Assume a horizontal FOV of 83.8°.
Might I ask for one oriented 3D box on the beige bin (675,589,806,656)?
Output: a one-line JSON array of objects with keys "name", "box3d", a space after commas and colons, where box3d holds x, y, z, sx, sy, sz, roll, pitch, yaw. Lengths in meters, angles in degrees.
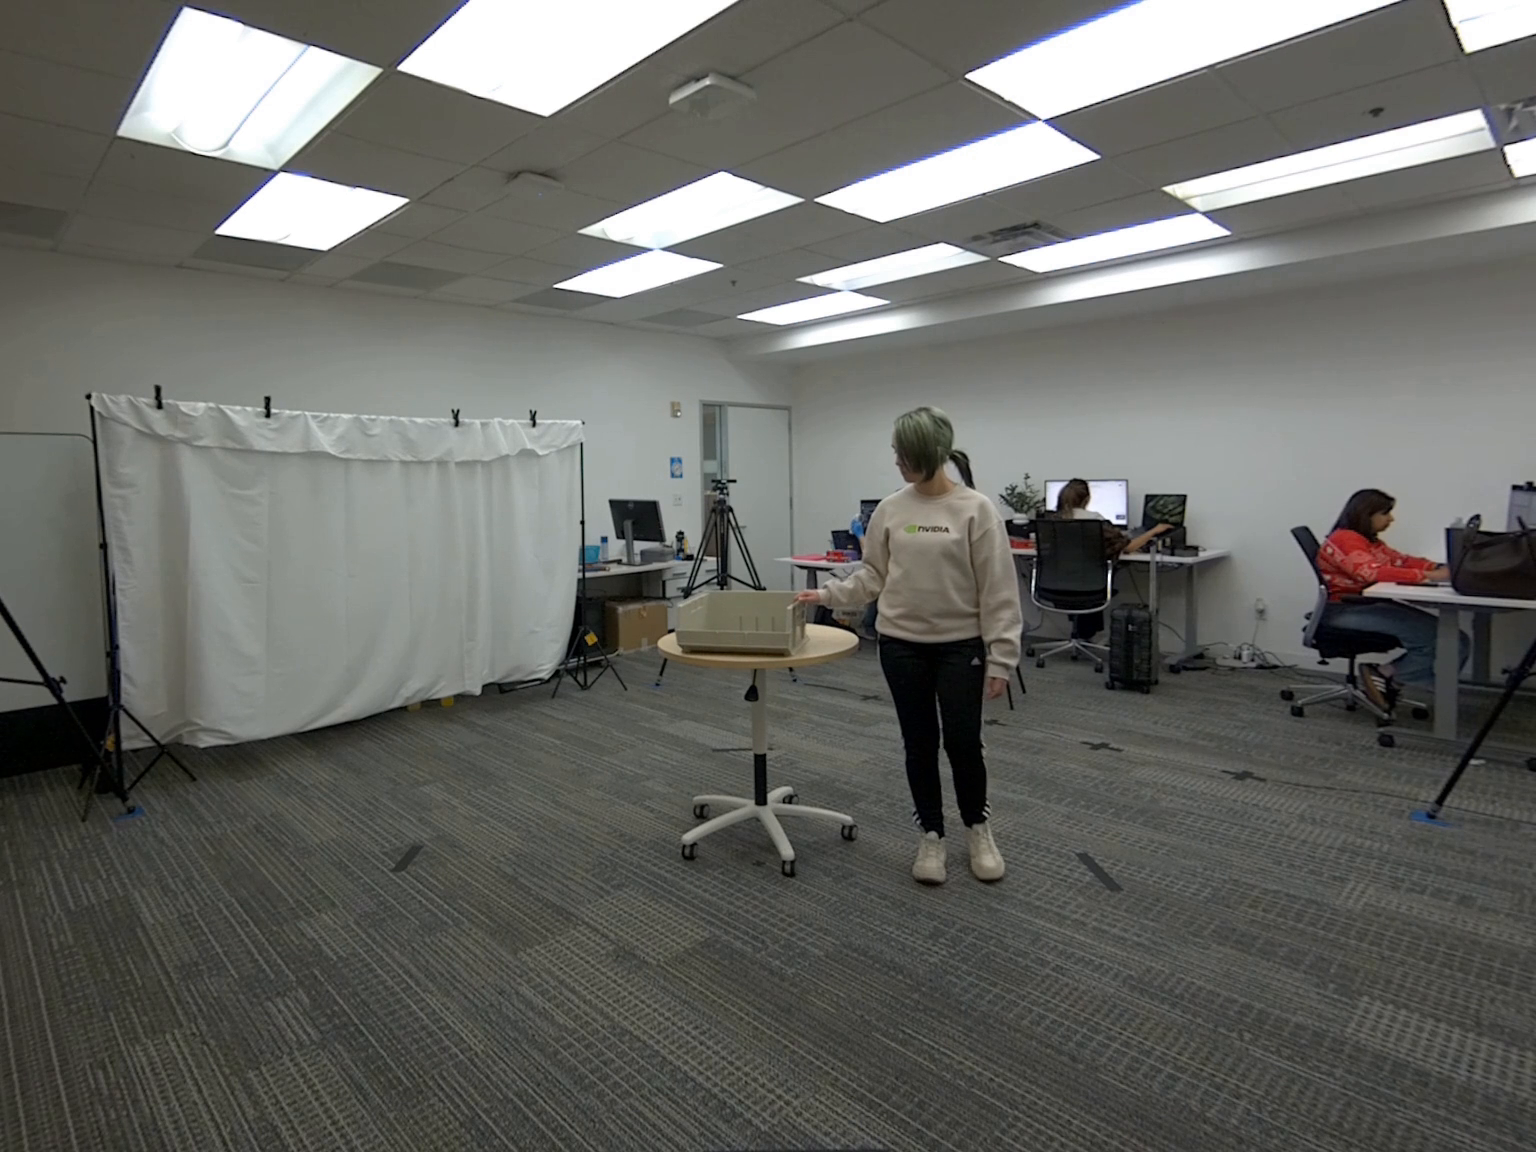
[{"name": "beige bin", "box3d": [-0.081, 0.168, 3.141, 0.429, 0.188, 0.373, 0, 5, 15]}]
